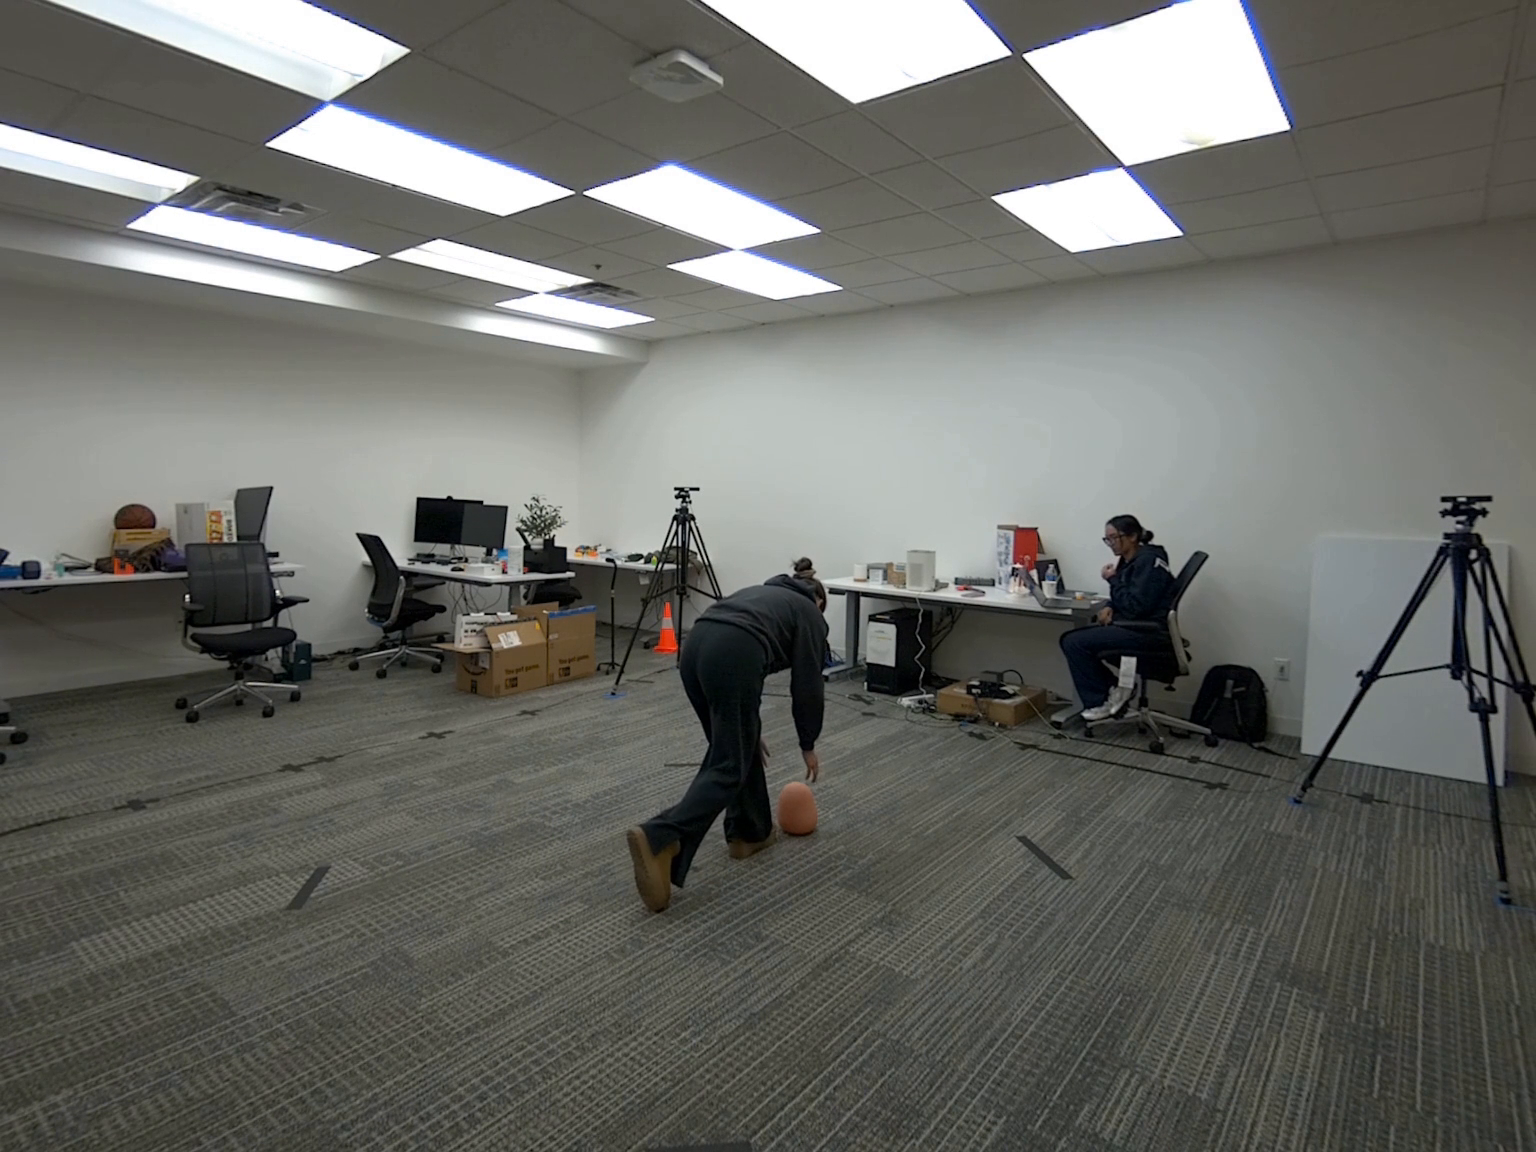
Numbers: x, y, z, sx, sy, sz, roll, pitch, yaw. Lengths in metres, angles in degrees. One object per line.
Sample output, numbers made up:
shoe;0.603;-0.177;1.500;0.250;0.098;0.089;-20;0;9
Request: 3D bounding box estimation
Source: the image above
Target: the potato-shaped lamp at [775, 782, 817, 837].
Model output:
potato-shaped lamp;0.118;0.934;3.474;0.169;0.197;0.168;1;5;27
